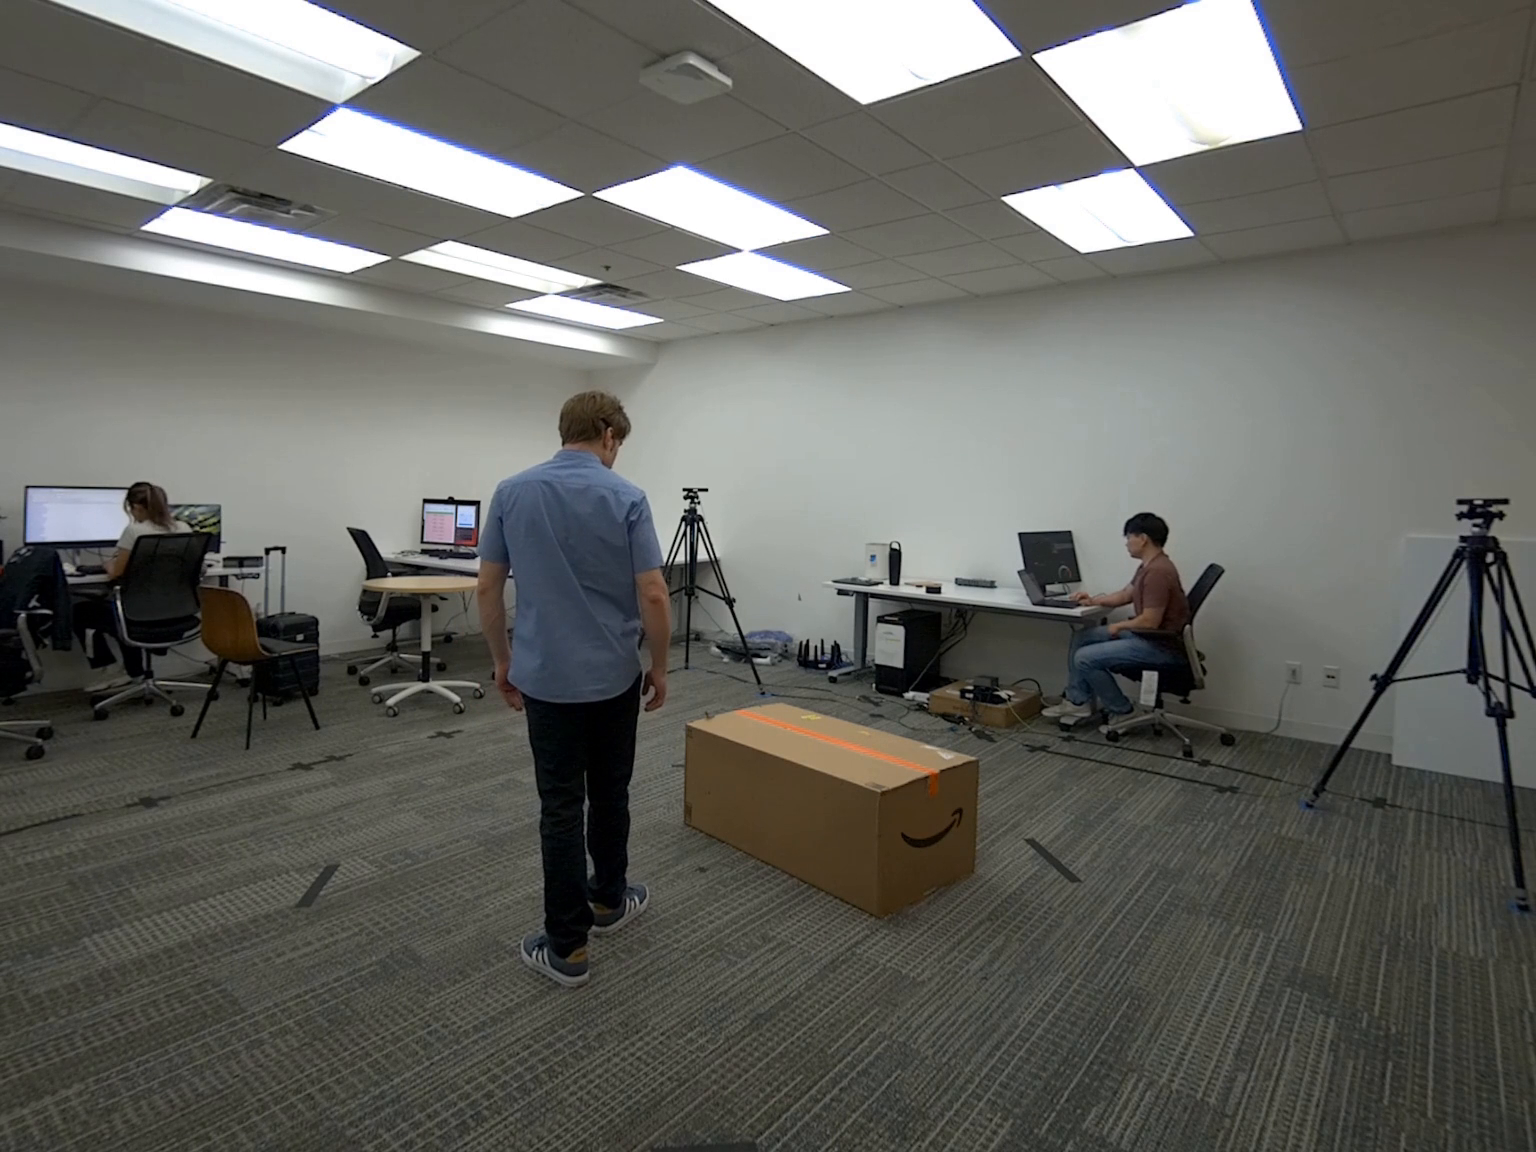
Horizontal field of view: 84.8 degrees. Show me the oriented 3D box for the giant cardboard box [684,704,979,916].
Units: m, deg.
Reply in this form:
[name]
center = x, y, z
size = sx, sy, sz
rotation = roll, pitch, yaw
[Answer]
[giant cardboard box]
center = 0.202, 0.844, 3.329
size = 0.567, 0.445, 1.063
rotation = -4, 8, -43
